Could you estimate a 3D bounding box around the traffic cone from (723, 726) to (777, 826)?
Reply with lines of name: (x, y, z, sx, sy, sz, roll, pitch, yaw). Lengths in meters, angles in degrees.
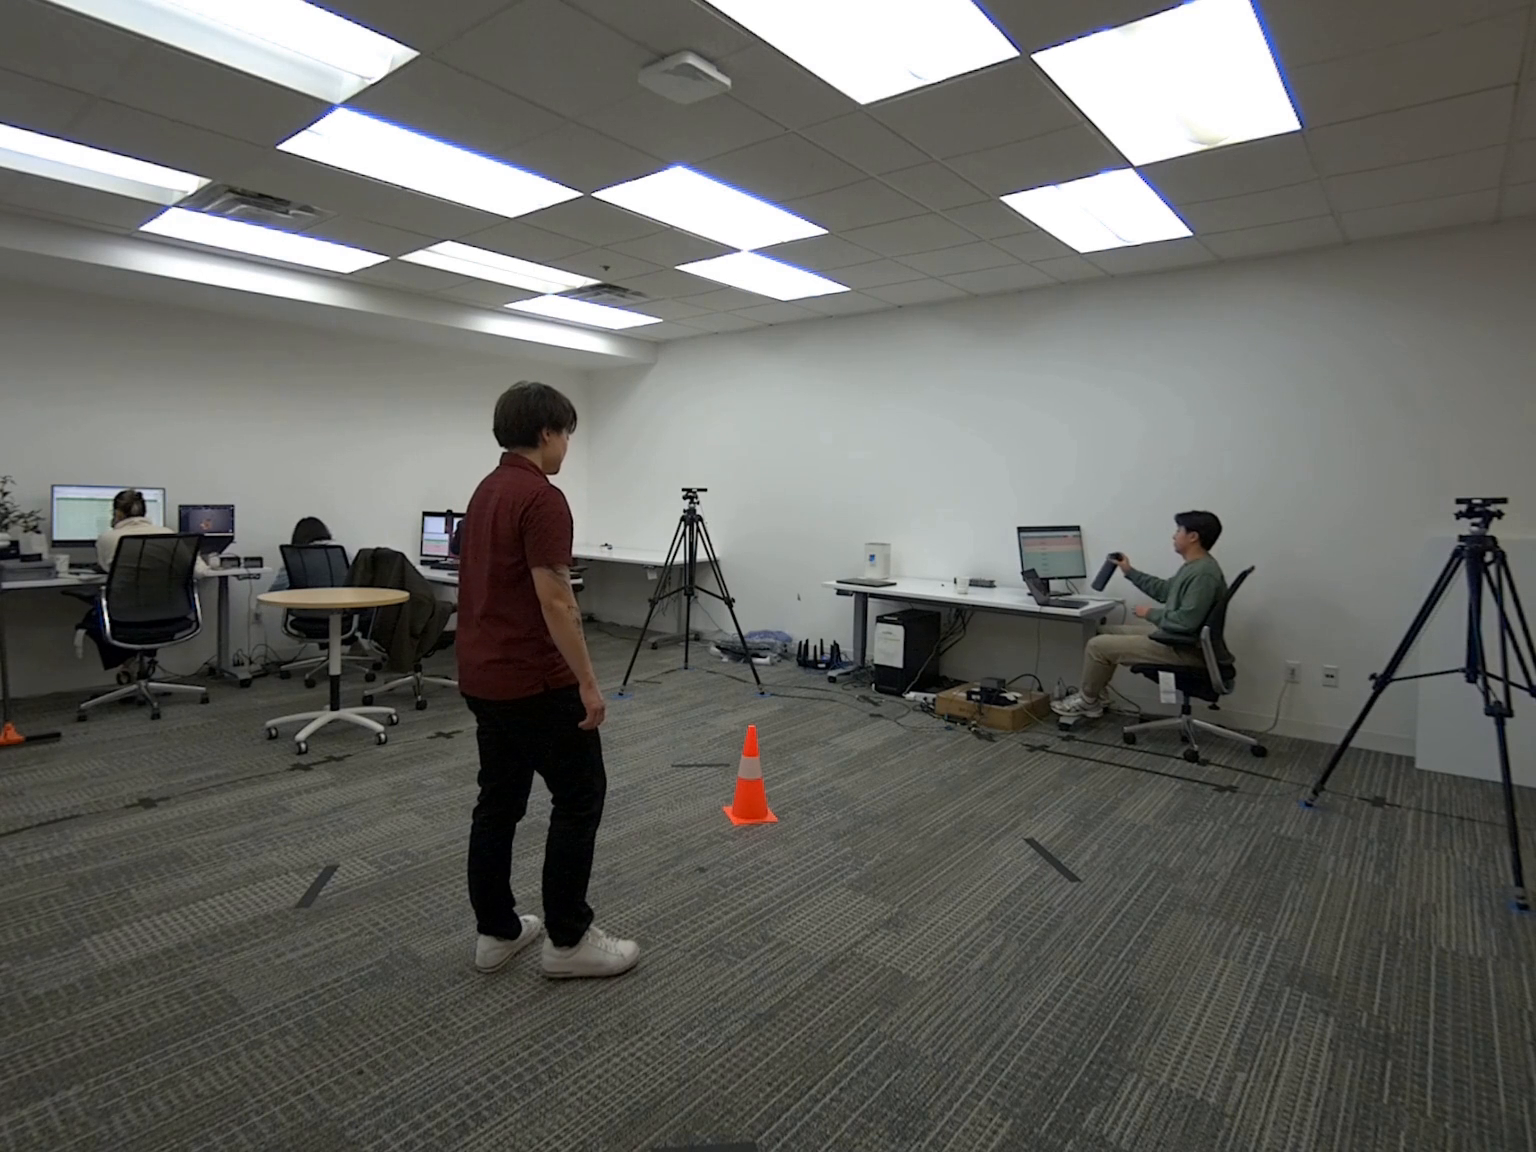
traffic cone: (-0.088, 0.833, 3.655, 0.200, 0.383, 0.209, 1, 2, -15)
